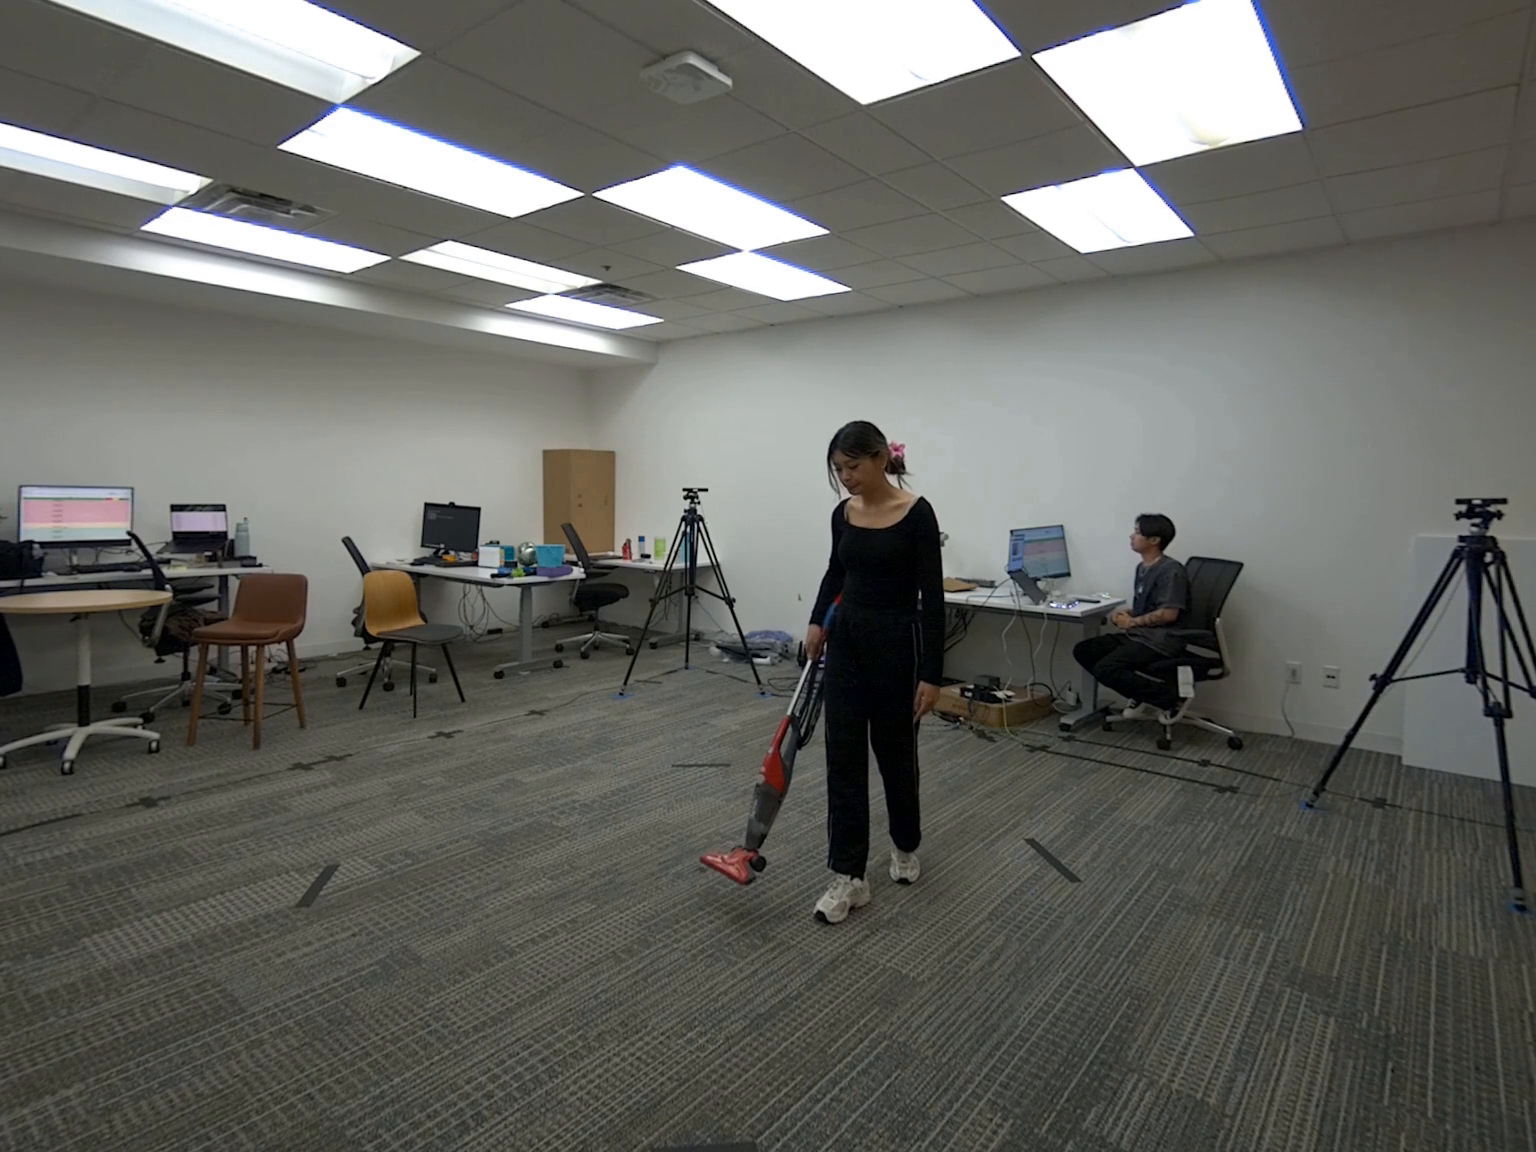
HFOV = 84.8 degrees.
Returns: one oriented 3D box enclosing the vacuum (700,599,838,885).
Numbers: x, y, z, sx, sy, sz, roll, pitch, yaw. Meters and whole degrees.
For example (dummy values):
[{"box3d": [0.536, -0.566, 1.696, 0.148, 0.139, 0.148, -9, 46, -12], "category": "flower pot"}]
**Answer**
[{"box3d": [0.080, 0.521, 2.977, 0.138, 1.057, 0.261, 35, -20, -34], "category": "vacuum"}]
